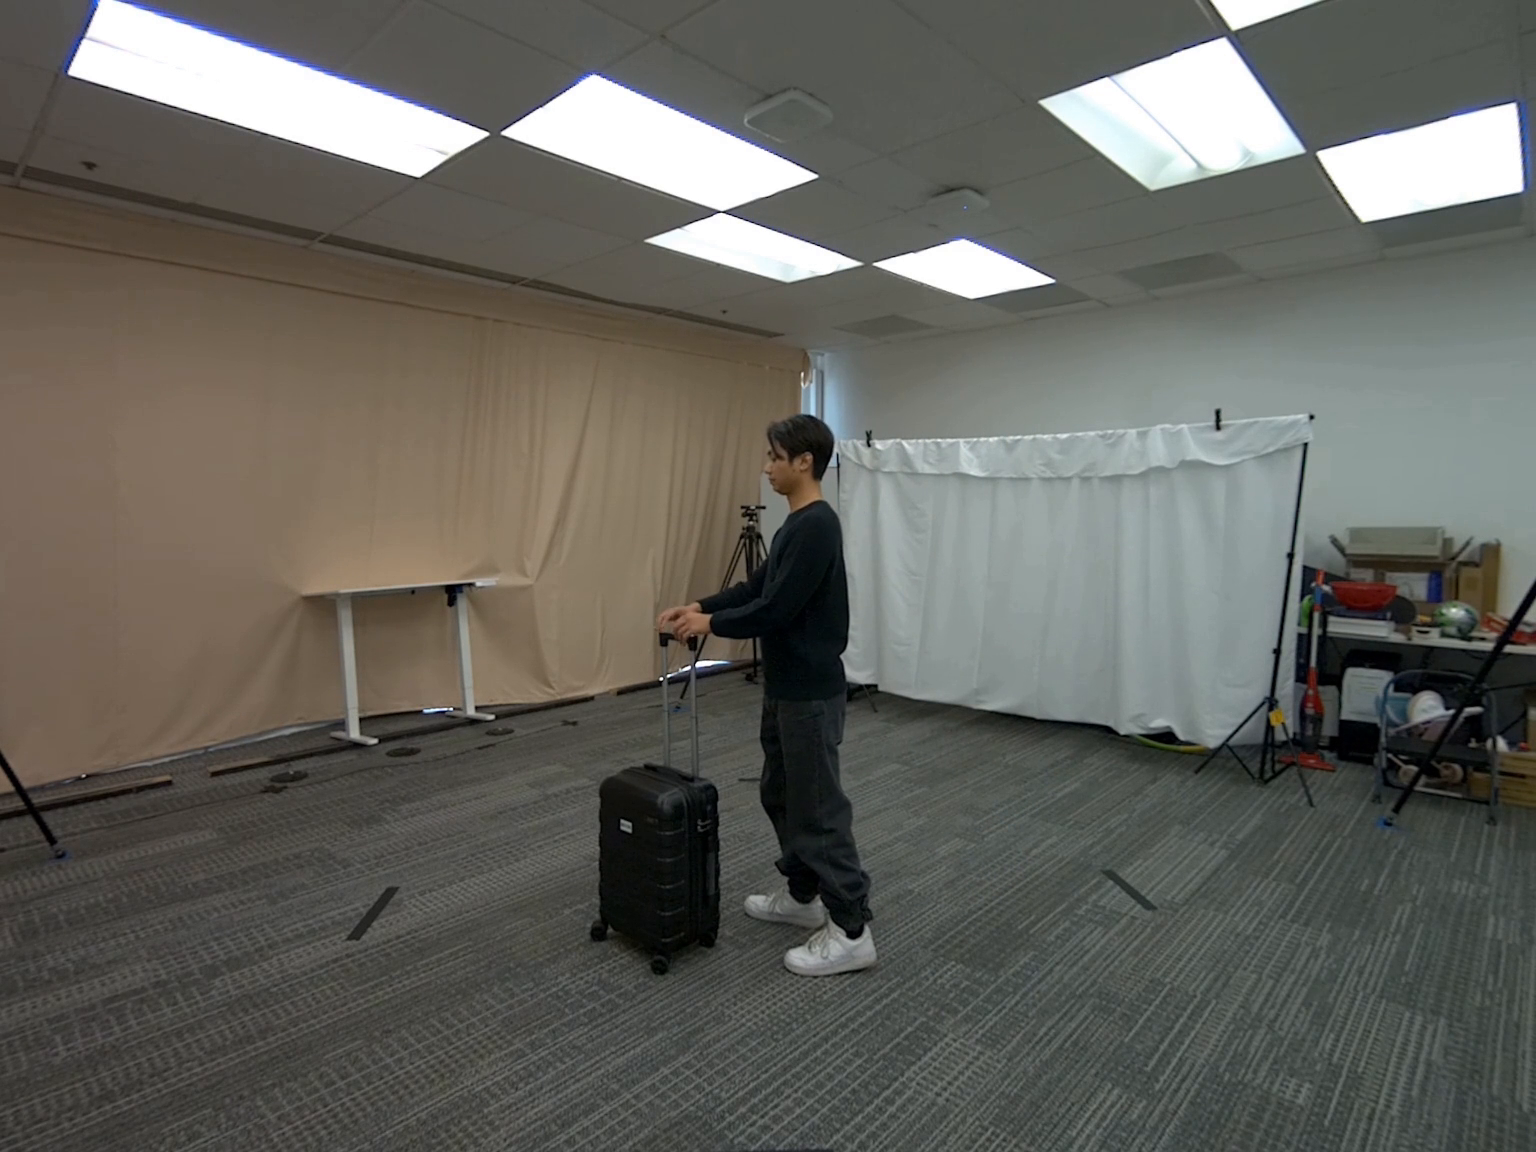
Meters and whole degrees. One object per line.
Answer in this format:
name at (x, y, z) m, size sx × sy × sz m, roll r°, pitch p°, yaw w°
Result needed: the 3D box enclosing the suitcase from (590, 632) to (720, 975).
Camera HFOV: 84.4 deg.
suitcase at (-0.351, 0.700, 2.659) m, size 0.397 × 0.976 × 0.249 m, roll 3°, pitch 5°, yaw 40°
